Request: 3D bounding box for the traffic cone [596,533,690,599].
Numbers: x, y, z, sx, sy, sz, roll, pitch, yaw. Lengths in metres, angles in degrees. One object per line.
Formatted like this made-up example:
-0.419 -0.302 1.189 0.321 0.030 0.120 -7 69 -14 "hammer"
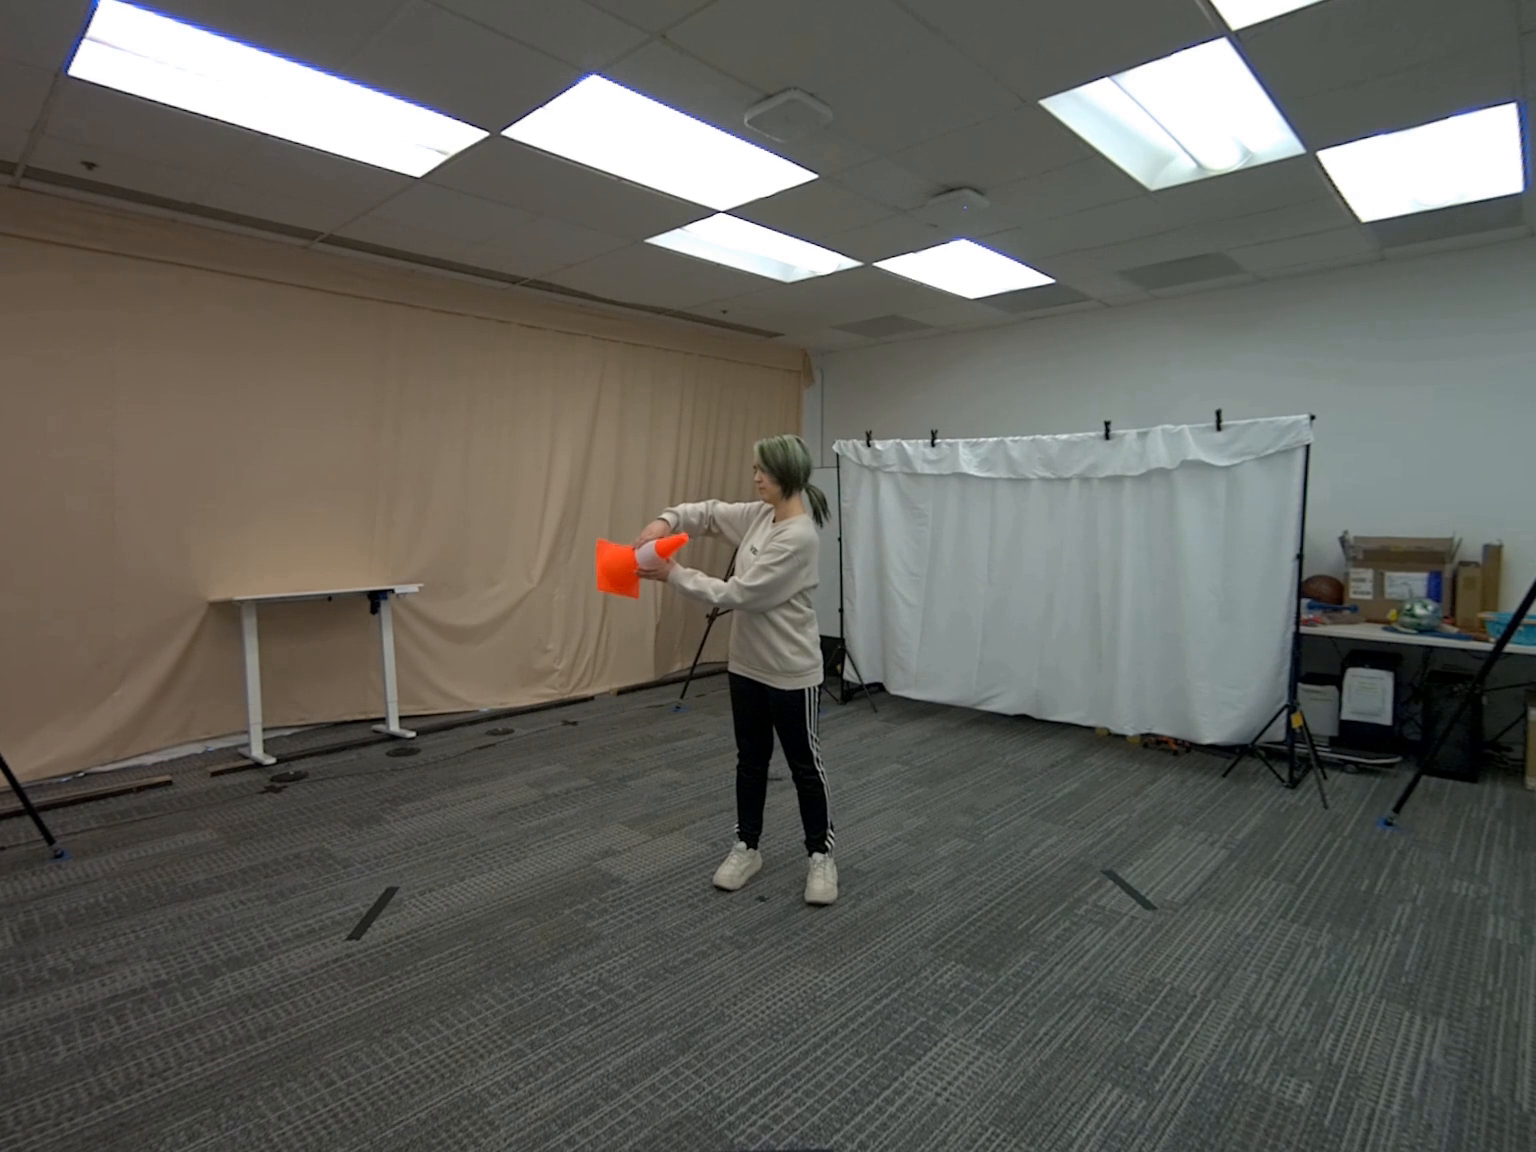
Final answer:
-0.413 -0.068 2.993 0.392 0.208 0.196 -21 -24 39 "traffic cone"
